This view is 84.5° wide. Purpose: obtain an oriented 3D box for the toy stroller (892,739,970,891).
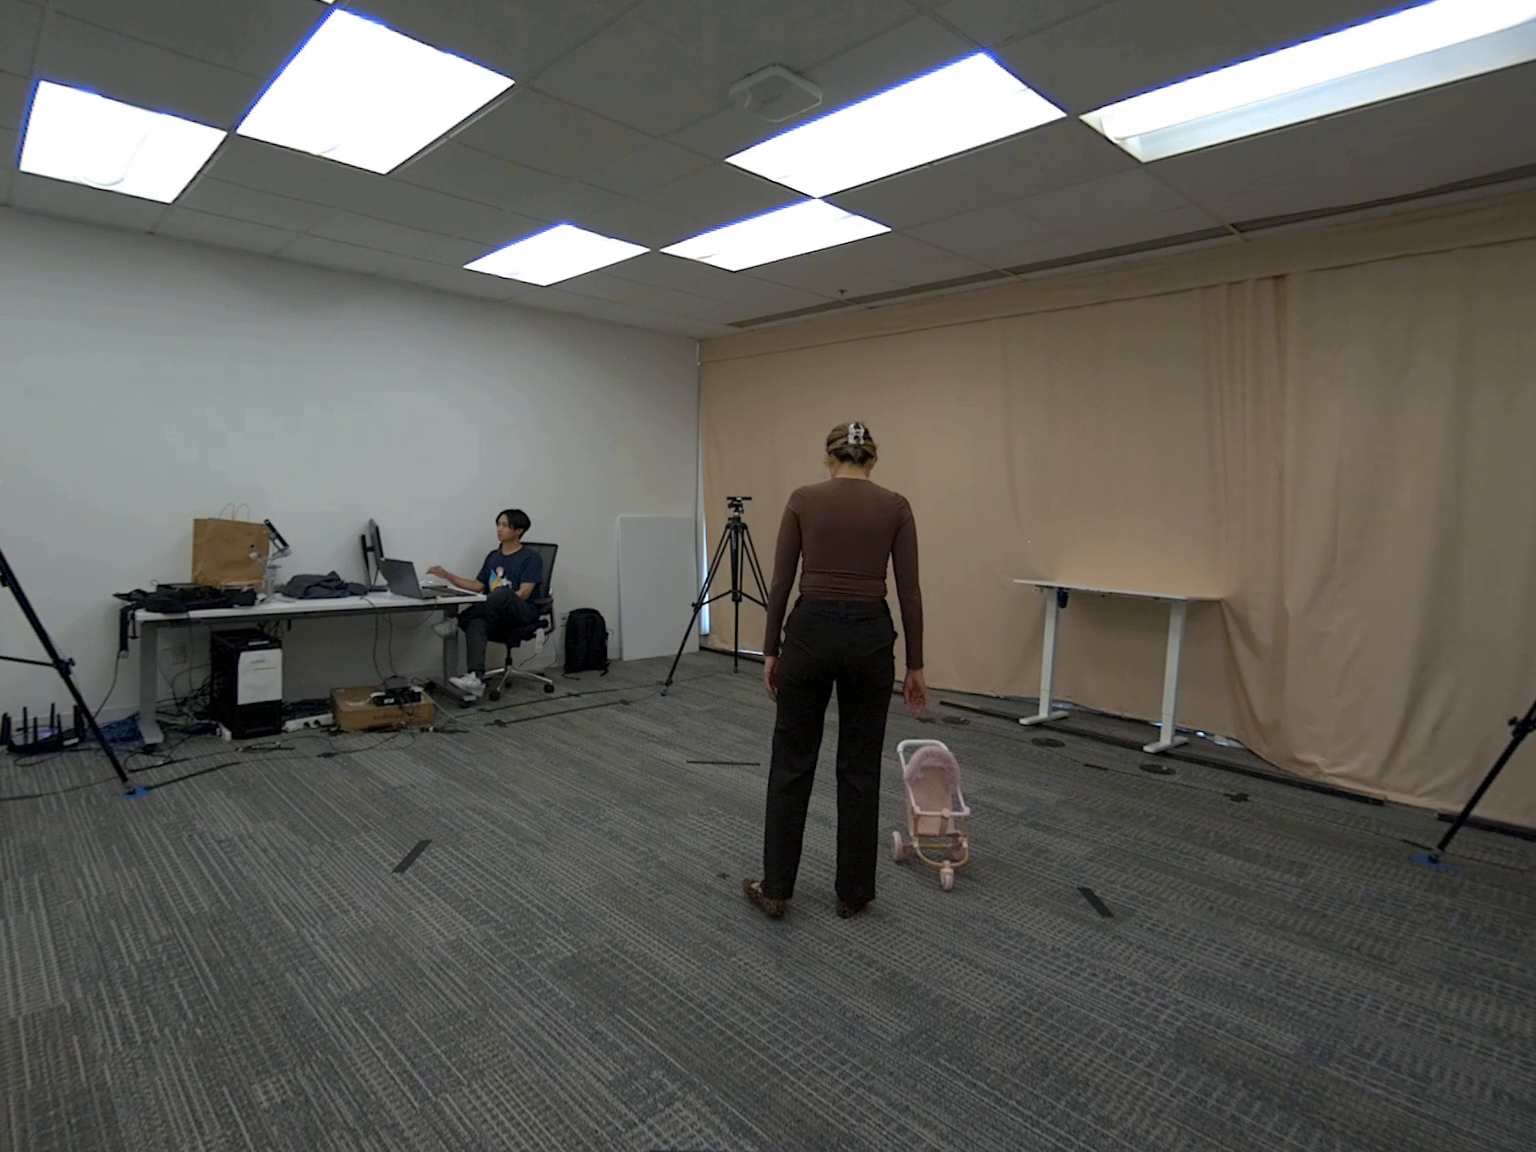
[{"bbox_3d":[0.626,0.892,3.215,0.281,0.540,0.338,1,-13,0],"label":"toy stroller"}]
